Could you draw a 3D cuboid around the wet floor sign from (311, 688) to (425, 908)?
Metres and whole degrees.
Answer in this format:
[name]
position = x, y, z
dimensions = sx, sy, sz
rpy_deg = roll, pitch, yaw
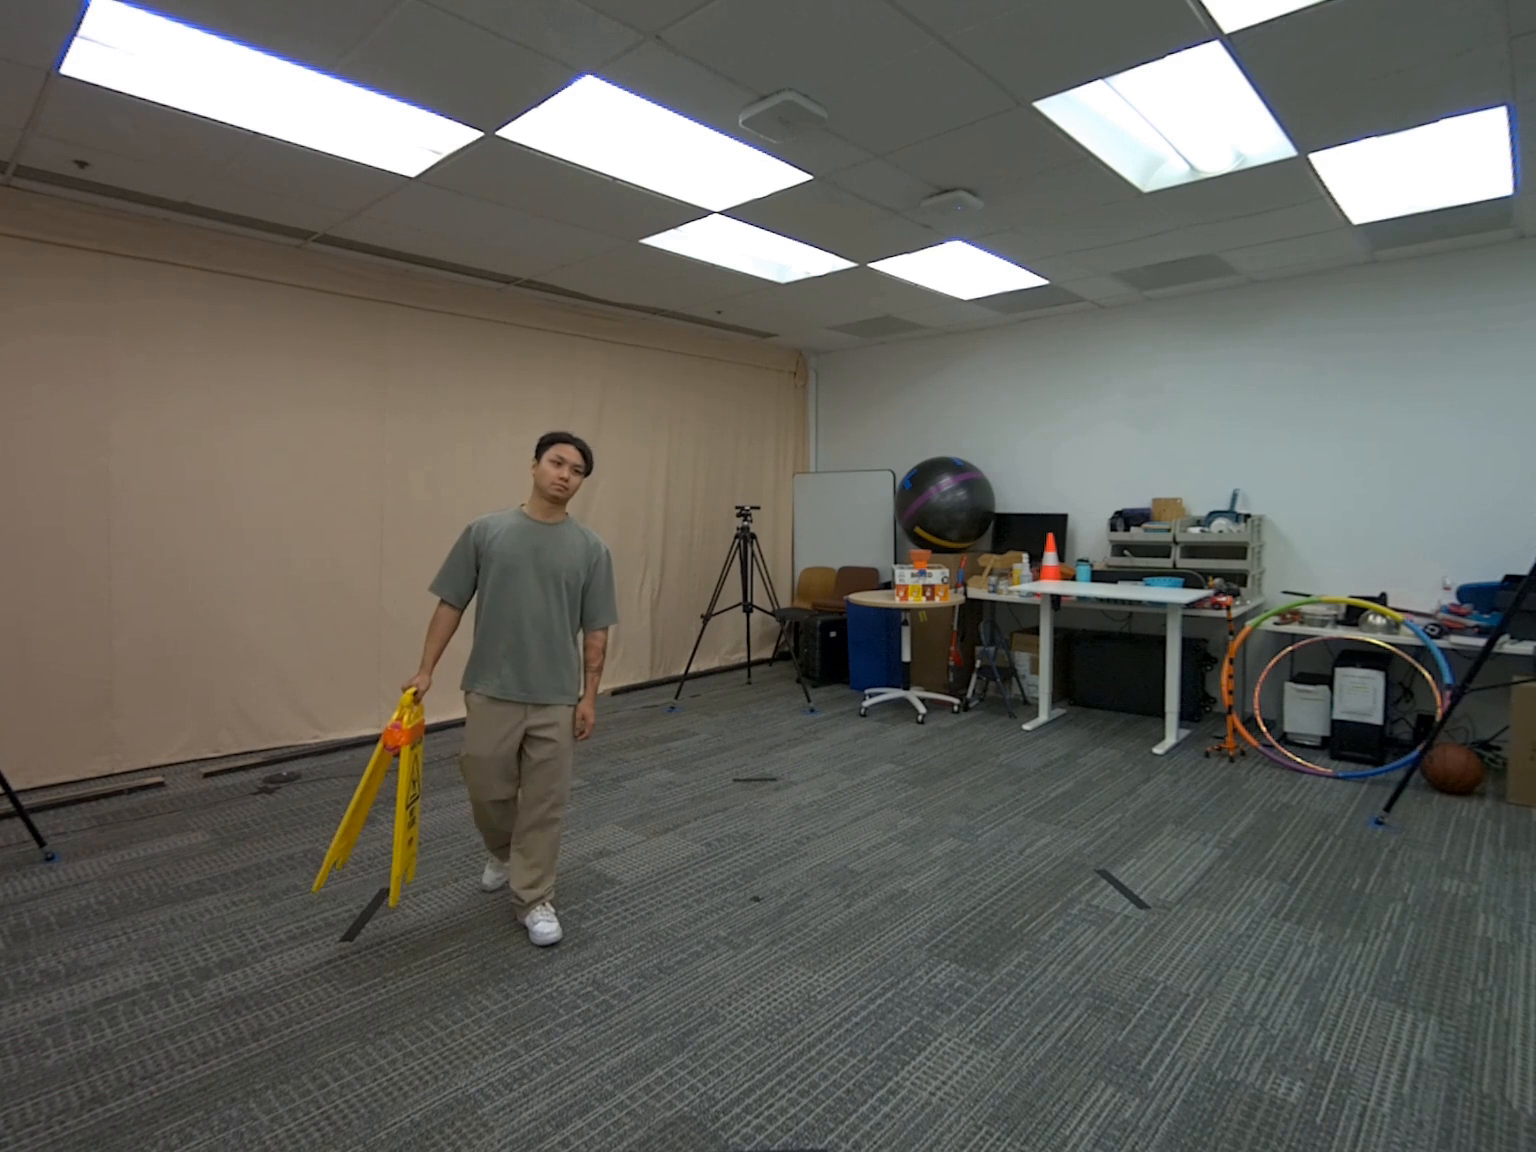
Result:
[wet floor sign]
position = -1.220, 0.684, 2.722
dimensions = 0.287, 0.647, 0.284
rpy_deg = 14, -3, -7
